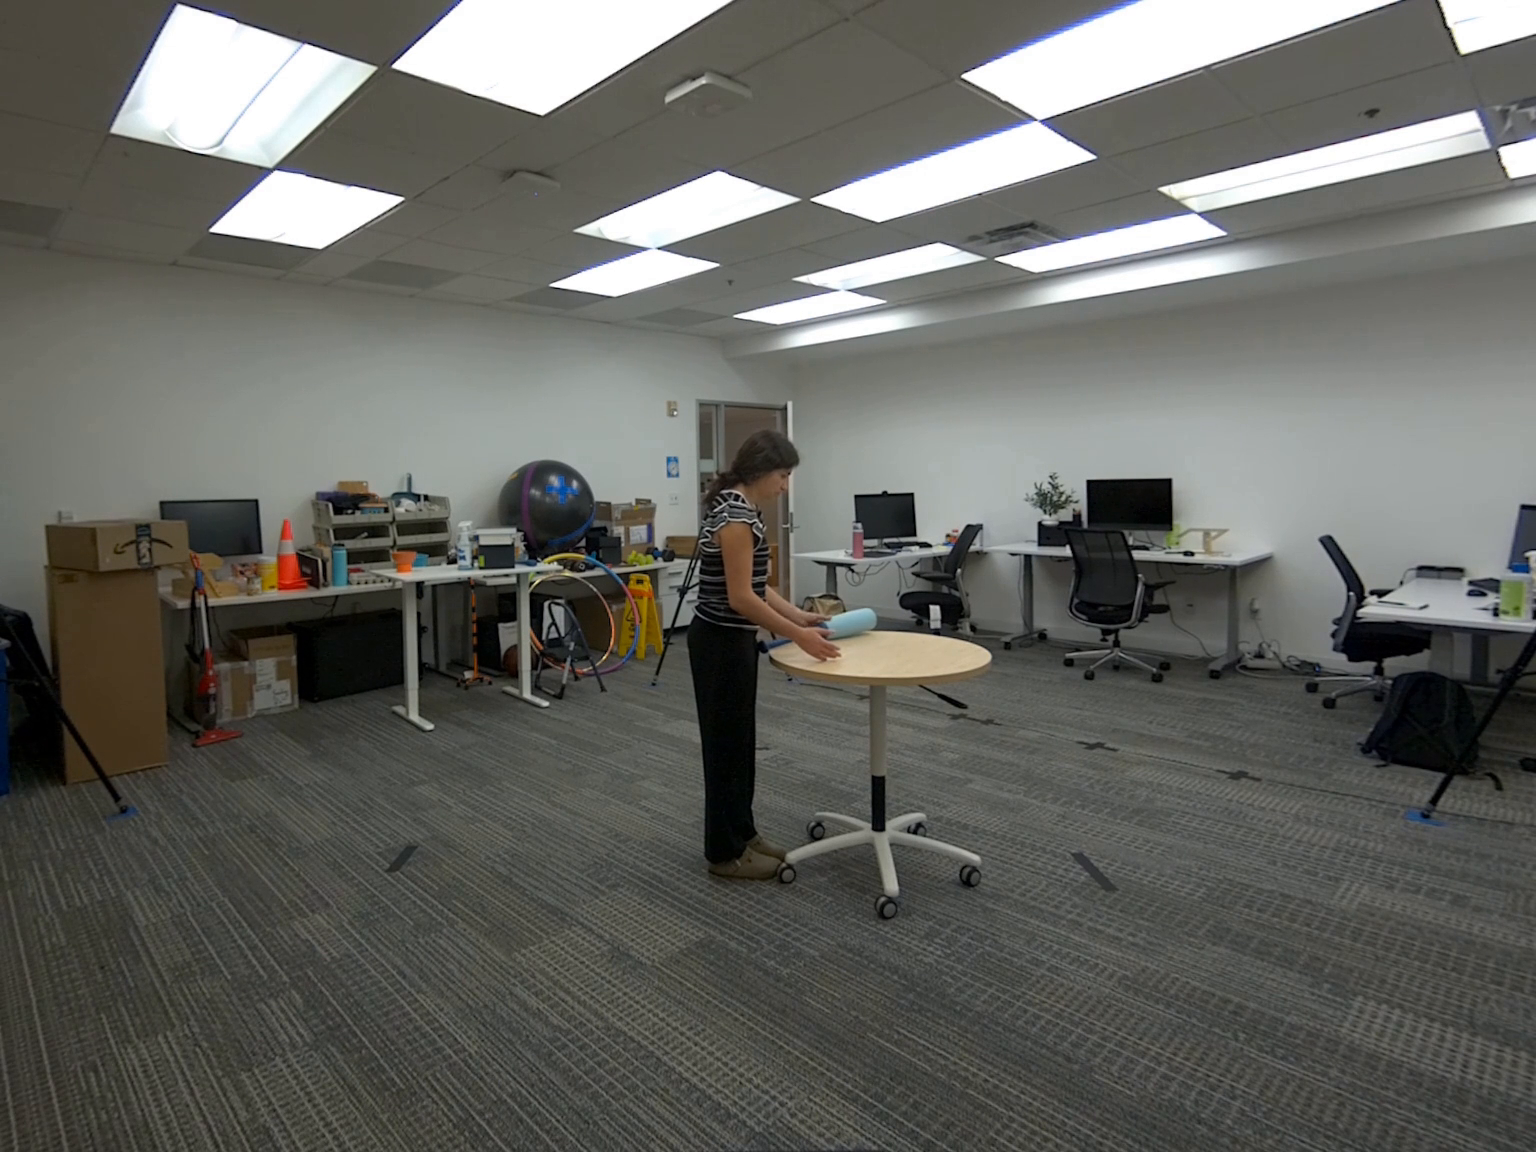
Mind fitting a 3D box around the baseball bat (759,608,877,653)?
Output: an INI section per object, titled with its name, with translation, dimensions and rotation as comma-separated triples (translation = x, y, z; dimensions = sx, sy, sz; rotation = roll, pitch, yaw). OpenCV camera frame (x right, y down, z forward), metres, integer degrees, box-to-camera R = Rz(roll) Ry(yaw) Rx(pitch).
[baseball bat]
translation = 0.191, 0.213, 3.182
dimensions = 0.531, 0.088, 0.092
rotation = -12, 10, -34
